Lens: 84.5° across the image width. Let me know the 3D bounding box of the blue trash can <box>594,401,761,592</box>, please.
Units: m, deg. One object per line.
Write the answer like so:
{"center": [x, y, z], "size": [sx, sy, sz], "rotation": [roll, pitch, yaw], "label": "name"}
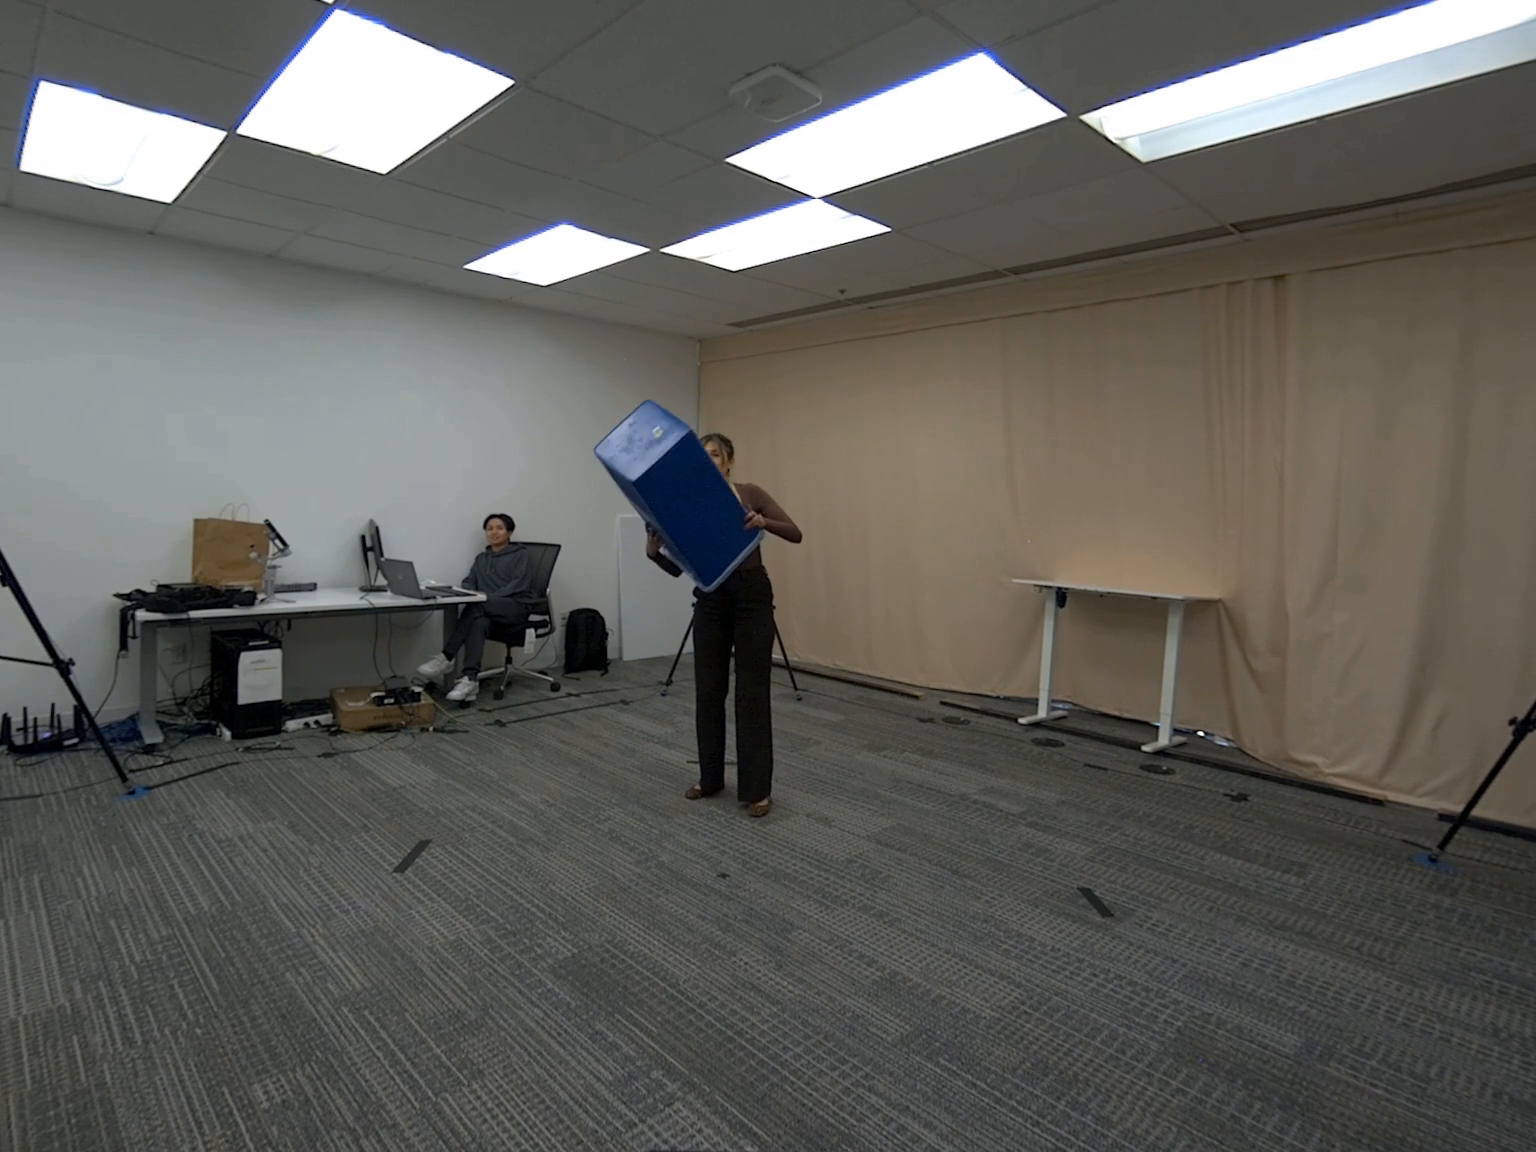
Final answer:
{"center": [-0.359, -0.315, 3.388], "size": [0.390, 0.374, 0.691], "rotation": [38, -13, 38], "label": "blue trash can"}
